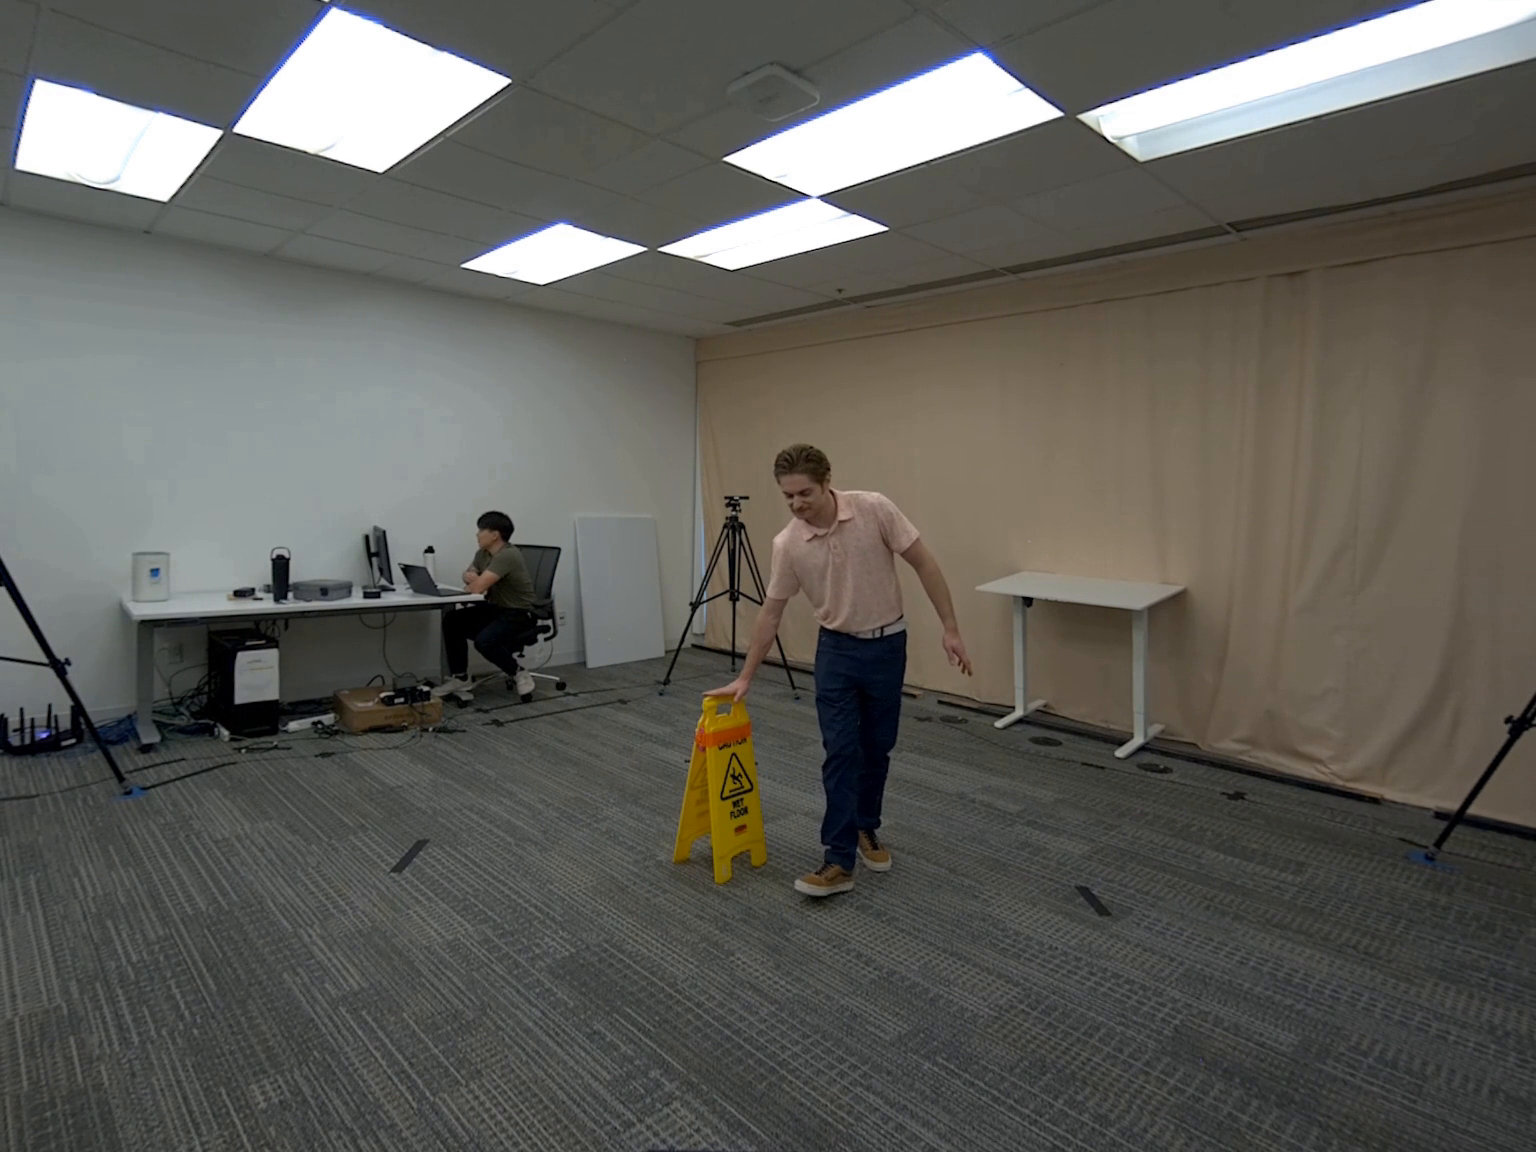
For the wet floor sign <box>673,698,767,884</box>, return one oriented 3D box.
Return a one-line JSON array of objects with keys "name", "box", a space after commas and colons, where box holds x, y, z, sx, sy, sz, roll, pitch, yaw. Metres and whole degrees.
[{"name": "wet floor sign", "box": [-0.174, 0.765, 3.185, 0.297, 0.644, 0.276, 5, 5, 42]}]
